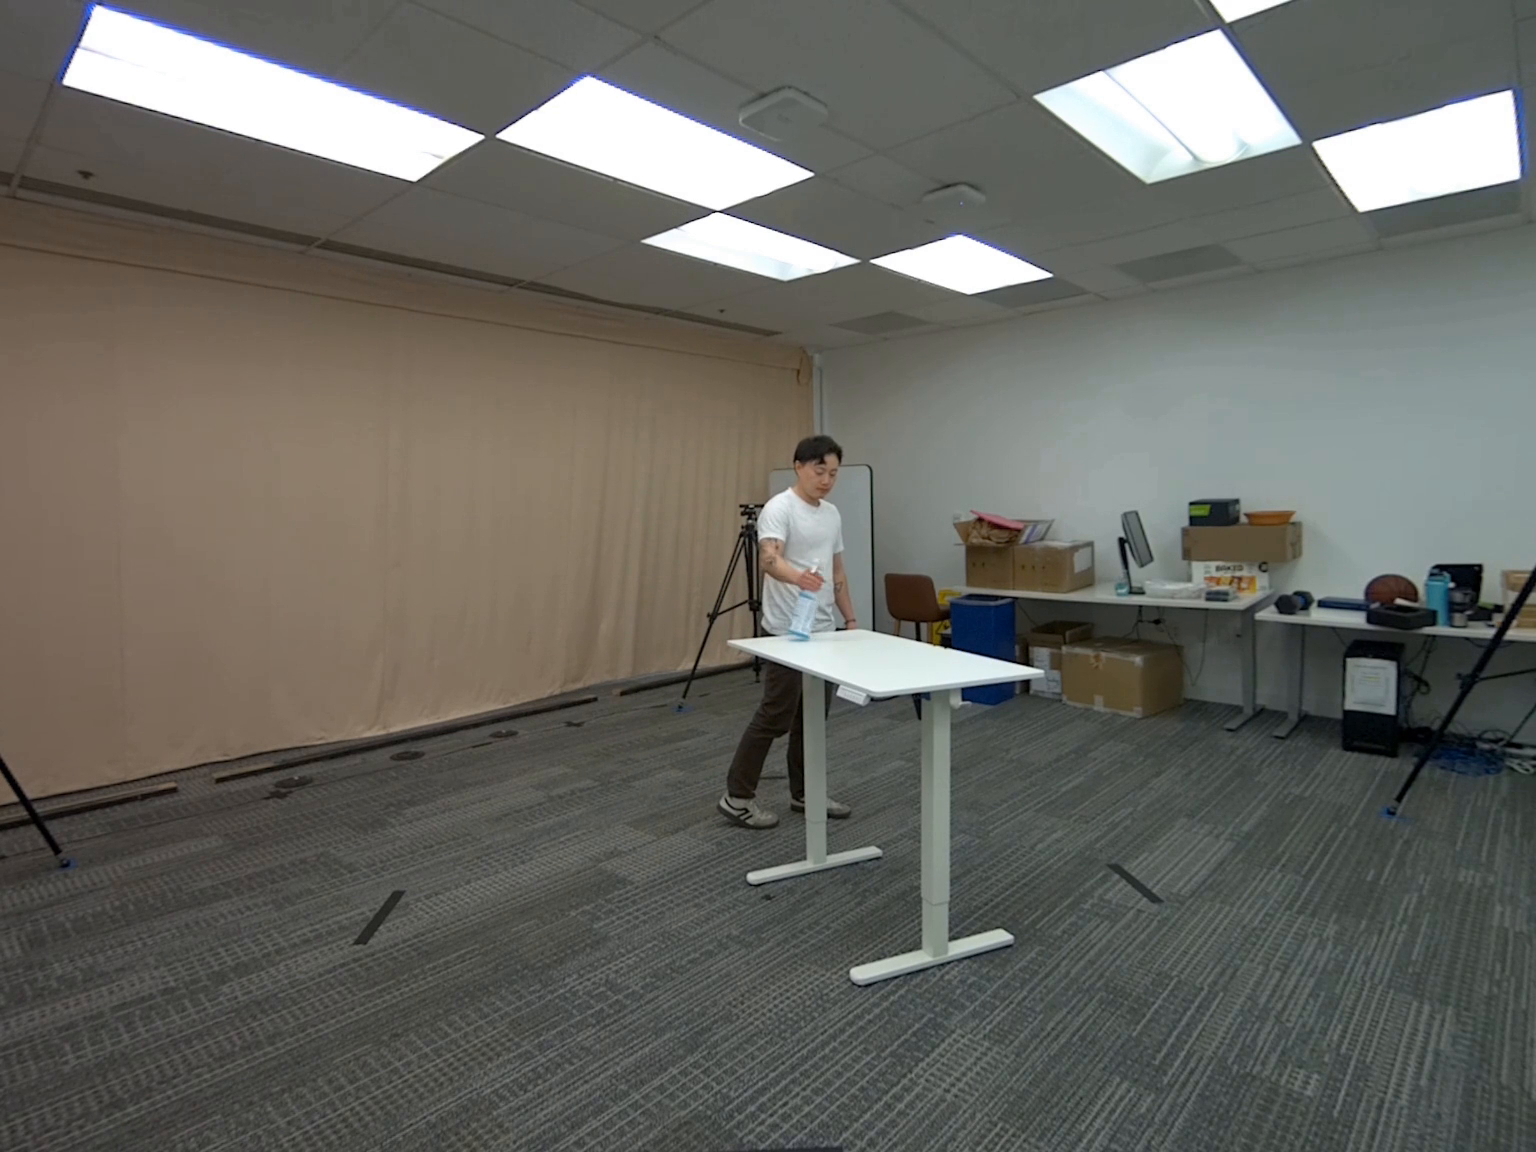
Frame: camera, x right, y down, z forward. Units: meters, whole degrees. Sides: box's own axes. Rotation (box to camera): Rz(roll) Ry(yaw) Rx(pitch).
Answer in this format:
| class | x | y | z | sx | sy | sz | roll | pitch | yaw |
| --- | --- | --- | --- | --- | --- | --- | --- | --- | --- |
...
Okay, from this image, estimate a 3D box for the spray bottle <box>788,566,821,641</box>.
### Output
| class | x | y | z | sx | sy | sz | roll | pitch | yaw |
| --- | --- | --- | --- | --- | --- | --- | --- | --- | --- |
| spray bottle | 0.169 | 0.075 | 3.188 | 0.087 | 0.298 | 0.090 | 19 | -5 | -38 |
